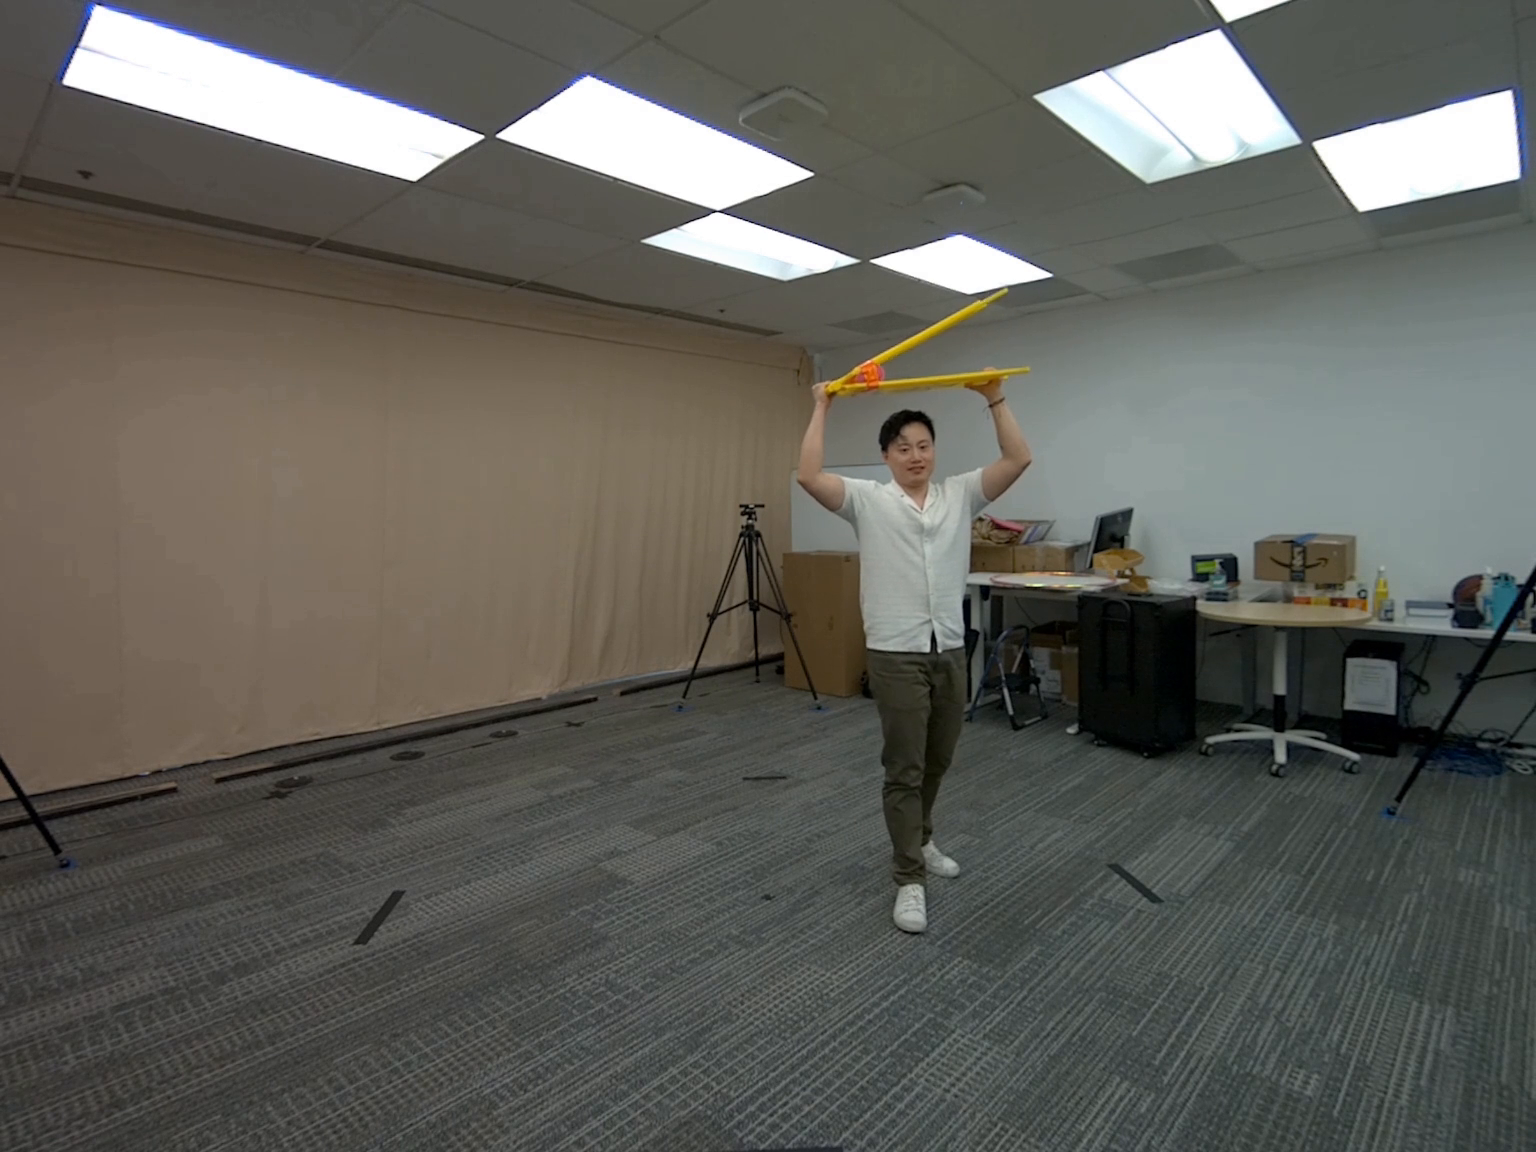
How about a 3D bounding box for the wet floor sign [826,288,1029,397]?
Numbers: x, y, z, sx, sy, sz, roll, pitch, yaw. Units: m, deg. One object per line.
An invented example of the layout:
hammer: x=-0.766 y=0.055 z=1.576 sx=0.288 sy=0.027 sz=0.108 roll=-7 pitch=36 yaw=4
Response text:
wet floor sign: x=0.496 y=-0.714 z=2.858 sx=0.647 sy=0.288 sz=0.283 roll=-16 pitch=5 yaw=1
